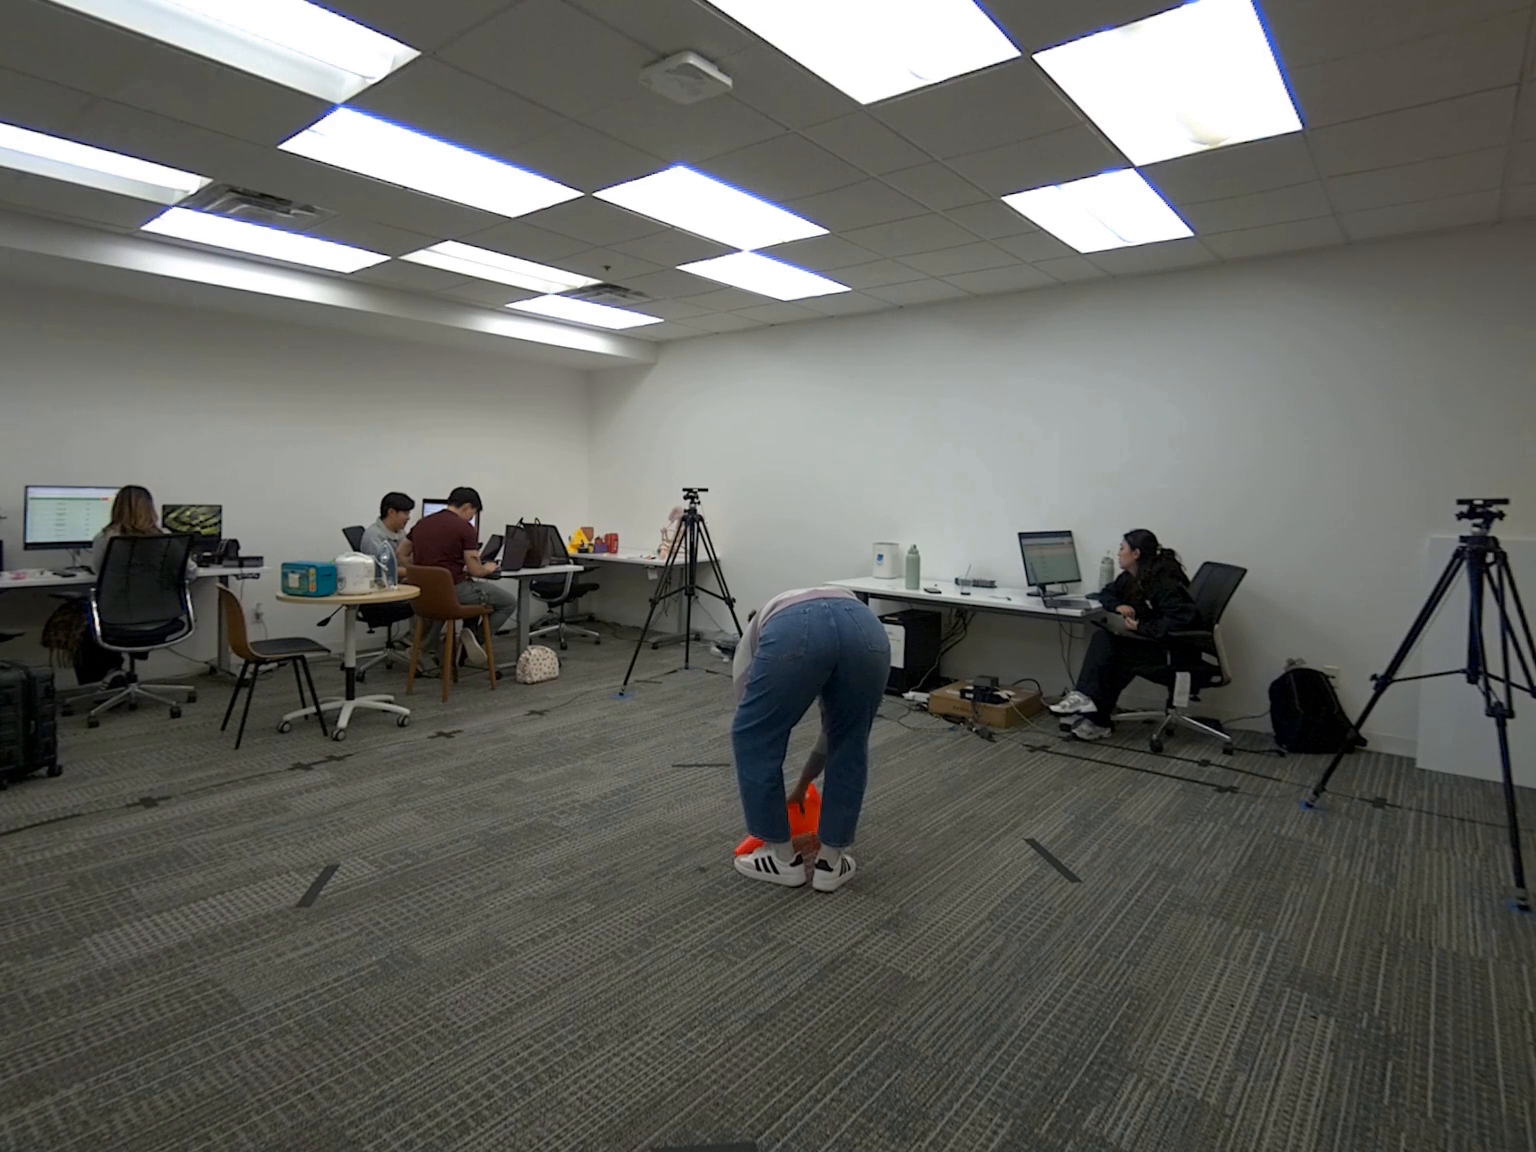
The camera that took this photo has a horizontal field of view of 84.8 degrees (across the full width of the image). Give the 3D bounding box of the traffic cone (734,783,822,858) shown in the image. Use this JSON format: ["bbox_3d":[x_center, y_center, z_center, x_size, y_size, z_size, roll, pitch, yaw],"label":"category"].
[{"bbox_3d":[0.021,0.993,3.312,0.378,0.208,0.203,-23,-10,-26],"label":"traffic cone"}]
